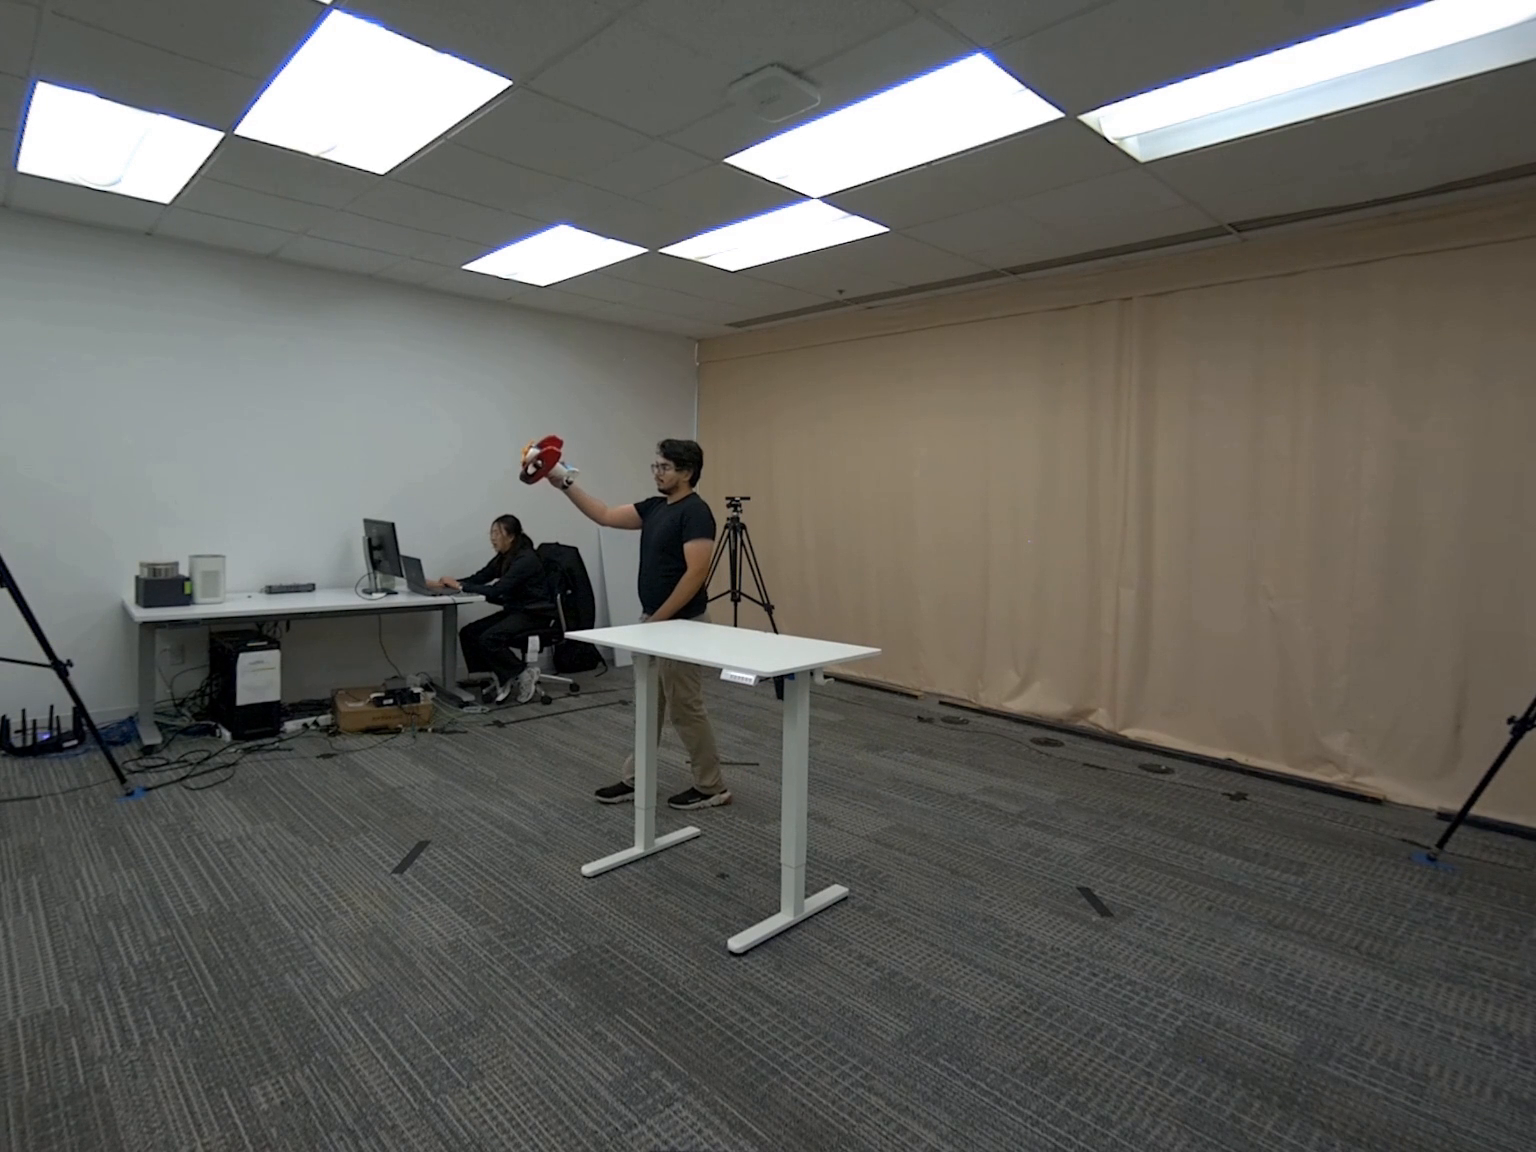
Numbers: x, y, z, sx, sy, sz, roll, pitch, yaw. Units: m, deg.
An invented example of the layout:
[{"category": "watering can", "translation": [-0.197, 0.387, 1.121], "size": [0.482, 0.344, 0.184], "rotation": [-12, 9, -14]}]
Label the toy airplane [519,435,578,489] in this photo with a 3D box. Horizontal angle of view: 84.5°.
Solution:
[{"category": "toy airplane", "translation": [-0.992, -0.477, 3.721], "size": [0.252, 0.160, 0.252], "rotation": [-19, -31, 8]}]
